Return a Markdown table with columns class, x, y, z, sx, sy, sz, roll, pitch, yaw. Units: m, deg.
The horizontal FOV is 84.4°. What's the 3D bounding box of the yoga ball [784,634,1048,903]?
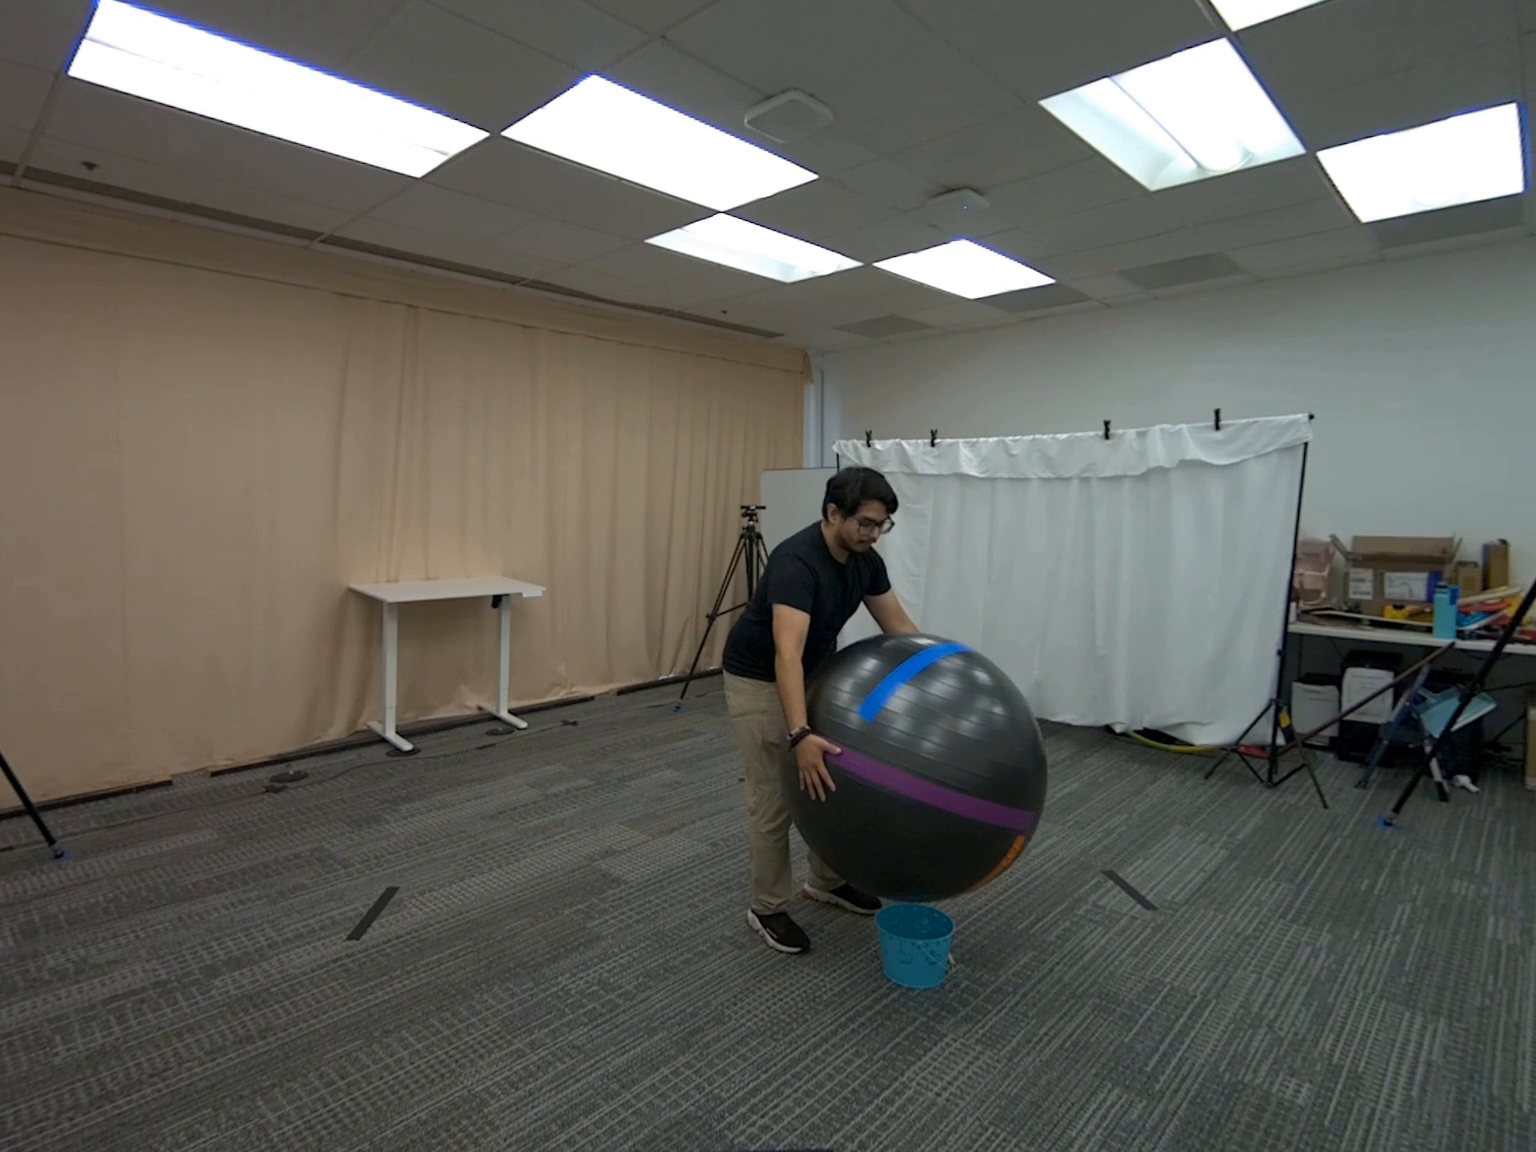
| class | x | y | z | sx | sy | sz | roll | pitch | yaw |
| --- | --- | --- | --- | --- | --- | --- | --- | --- | --- |
| yoga ball | 0.422 | 0.551 | 2.454 | 0.757 | 0.756 | 0.761 | 0 | 4 | -2 |
